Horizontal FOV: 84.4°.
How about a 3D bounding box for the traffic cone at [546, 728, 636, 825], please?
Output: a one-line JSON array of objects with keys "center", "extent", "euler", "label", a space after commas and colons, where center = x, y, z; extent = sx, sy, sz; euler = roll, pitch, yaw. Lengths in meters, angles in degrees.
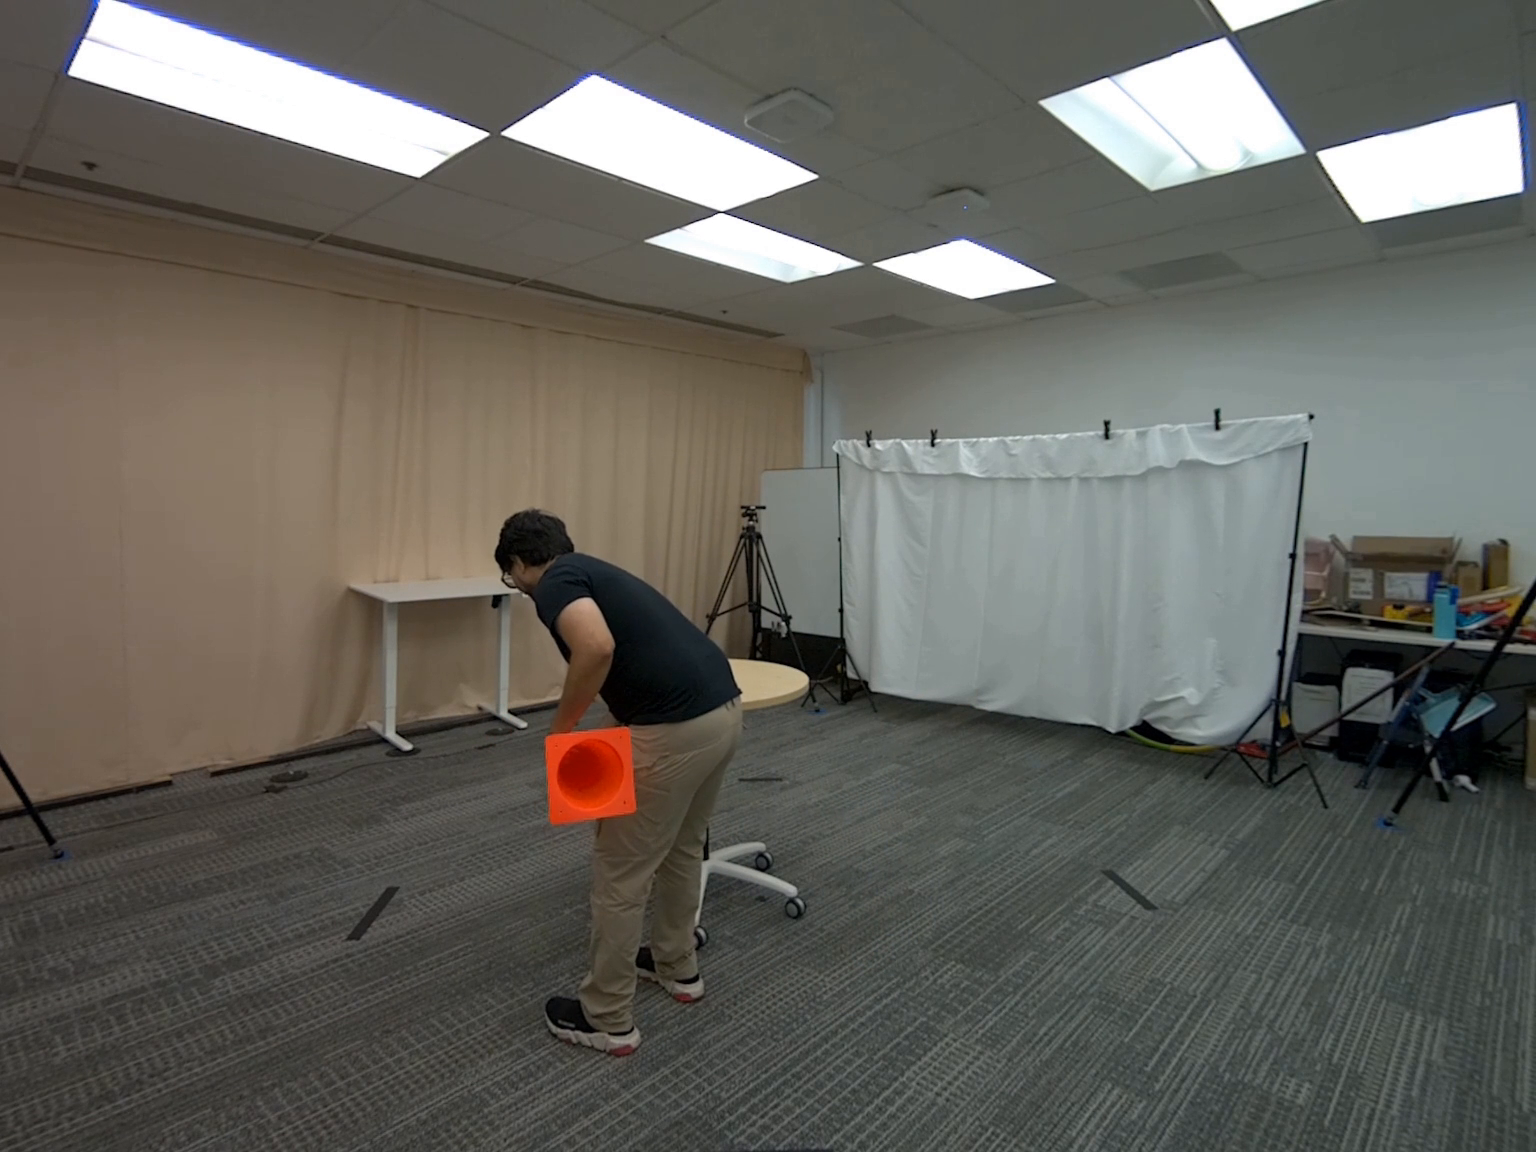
[{"center": [-0.480, 0.483, 2.118], "extent": [0.200, 0.206, 0.388], "euler": [-3, -7, -19], "label": "traffic cone"}]
